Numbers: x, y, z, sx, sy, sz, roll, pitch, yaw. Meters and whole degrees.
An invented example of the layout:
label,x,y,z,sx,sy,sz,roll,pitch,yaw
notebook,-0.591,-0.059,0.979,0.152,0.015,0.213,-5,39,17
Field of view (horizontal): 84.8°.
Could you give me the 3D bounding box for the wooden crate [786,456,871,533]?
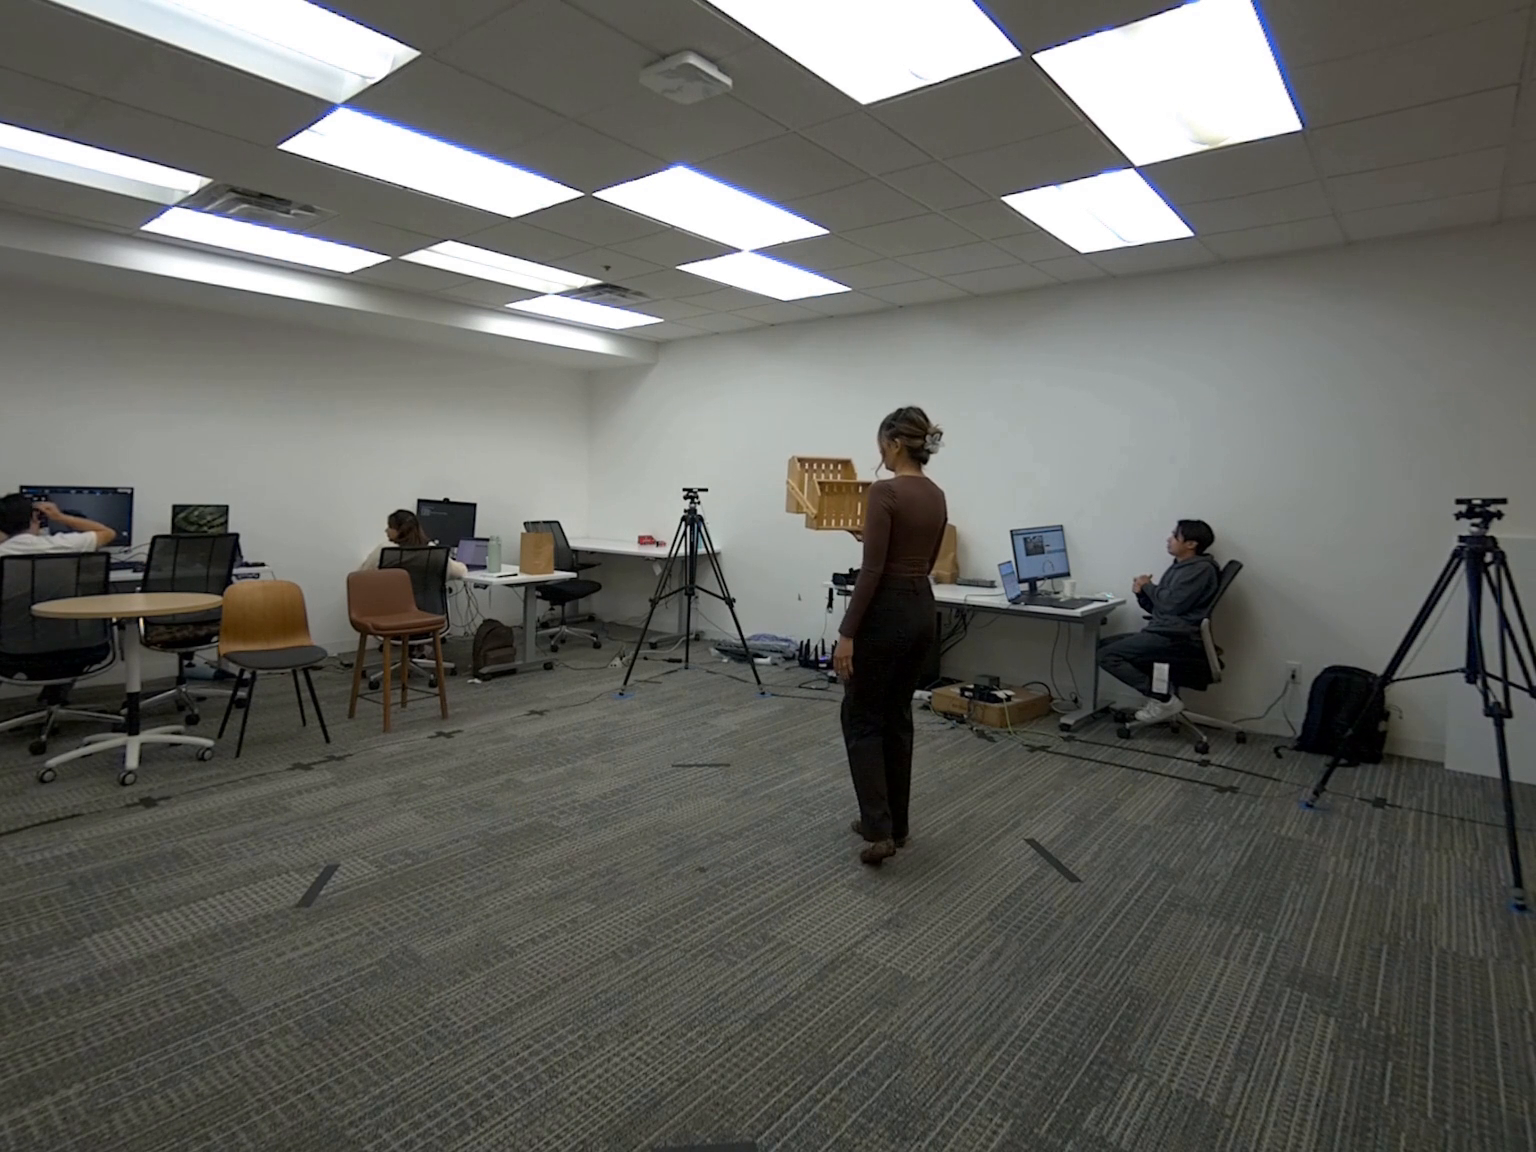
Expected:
label,x,y,z,sx,sy,sz,roll,pitch,yaw
wooden crate,0.272,-0.364,3.674,0.316,0.300,0.282,-1,7,-28
